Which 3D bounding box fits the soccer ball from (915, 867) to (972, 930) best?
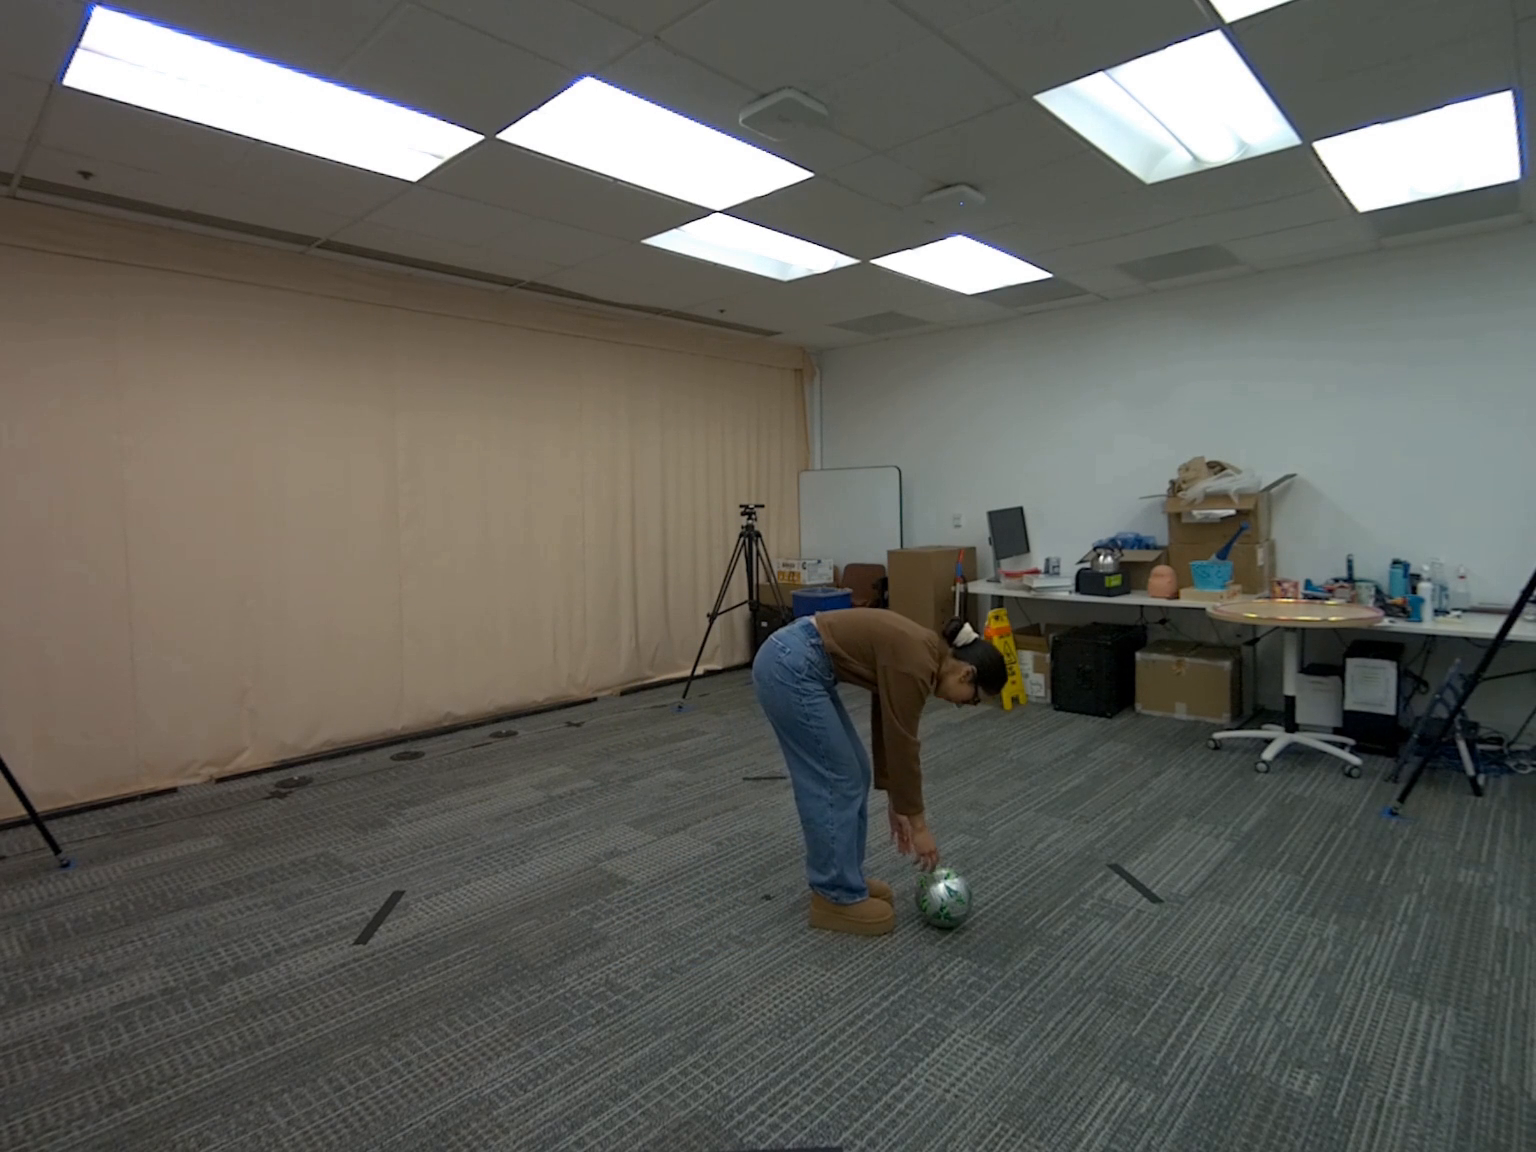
[{"bbox_3d":[0.583,1.053,2.755,0.187,0.187,0.188,-1,4,-2],"label":"soccer ball"}]
